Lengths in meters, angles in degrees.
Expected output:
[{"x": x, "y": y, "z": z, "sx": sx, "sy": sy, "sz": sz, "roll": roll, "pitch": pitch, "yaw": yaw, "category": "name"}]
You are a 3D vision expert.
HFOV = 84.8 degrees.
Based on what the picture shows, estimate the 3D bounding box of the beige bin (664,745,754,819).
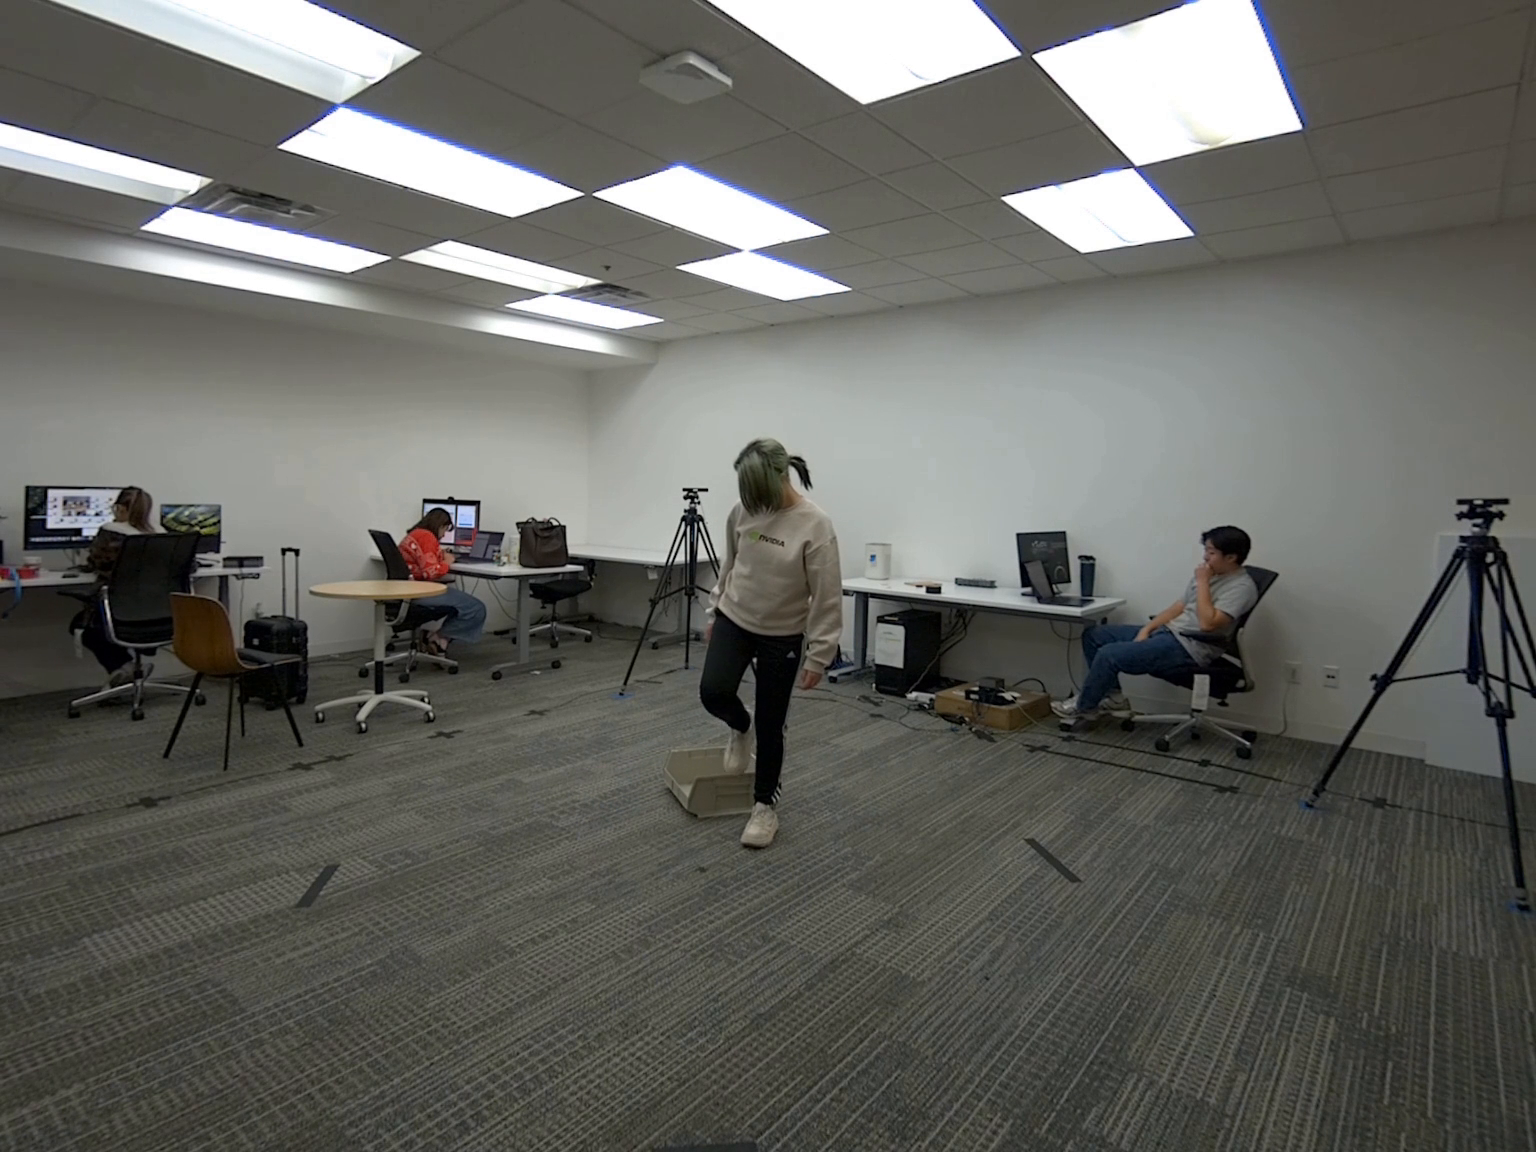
[{"x": -0.250, "y": 0.907, "z": 3.825, "sx": 0.370, "sy": 0.188, "sz": 0.432, "roll": 0, "pitch": 4, "yaw": -21, "category": "beige bin"}]
